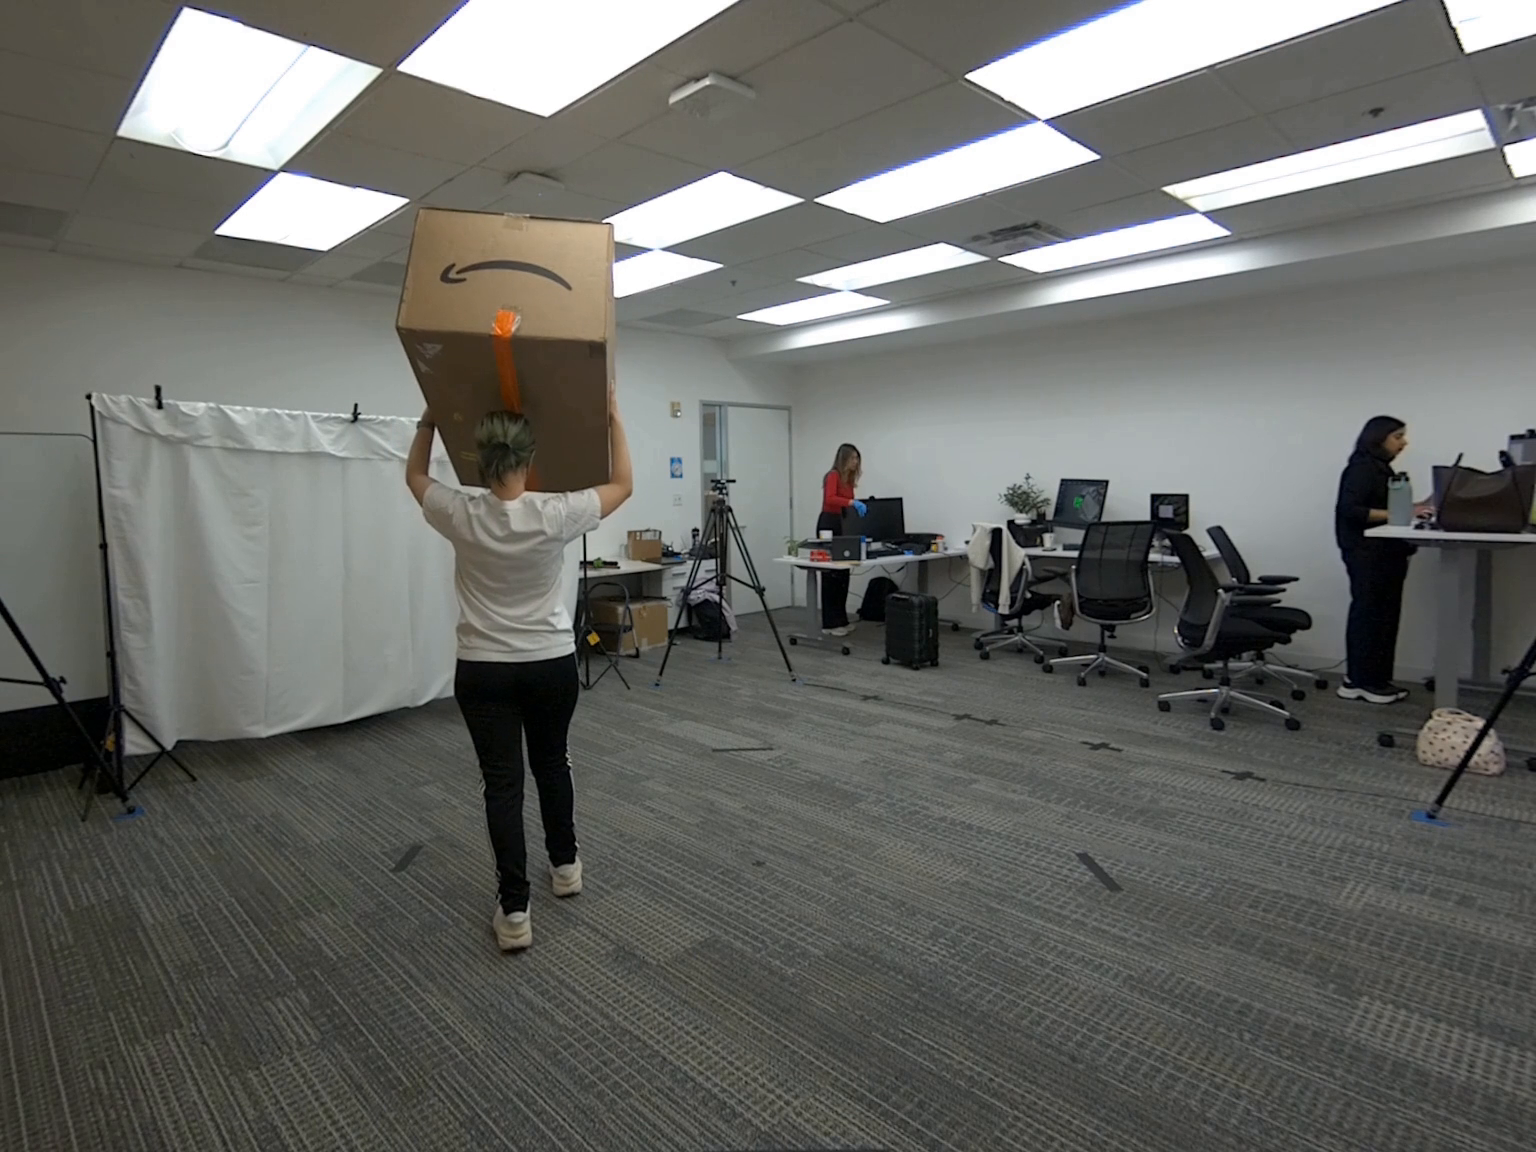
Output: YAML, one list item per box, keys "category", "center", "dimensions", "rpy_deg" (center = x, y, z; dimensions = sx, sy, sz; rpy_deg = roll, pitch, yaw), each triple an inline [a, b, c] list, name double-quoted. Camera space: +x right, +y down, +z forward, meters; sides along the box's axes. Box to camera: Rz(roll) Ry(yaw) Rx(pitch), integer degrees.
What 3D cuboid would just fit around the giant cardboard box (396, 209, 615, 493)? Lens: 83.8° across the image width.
- category: "giant cardboard box"
  center: [-0.818, -0.693, 2.902]
  dimensions: [0.579, 0.455, 1.016]
  rpy_deg: [2, -20, -9]
